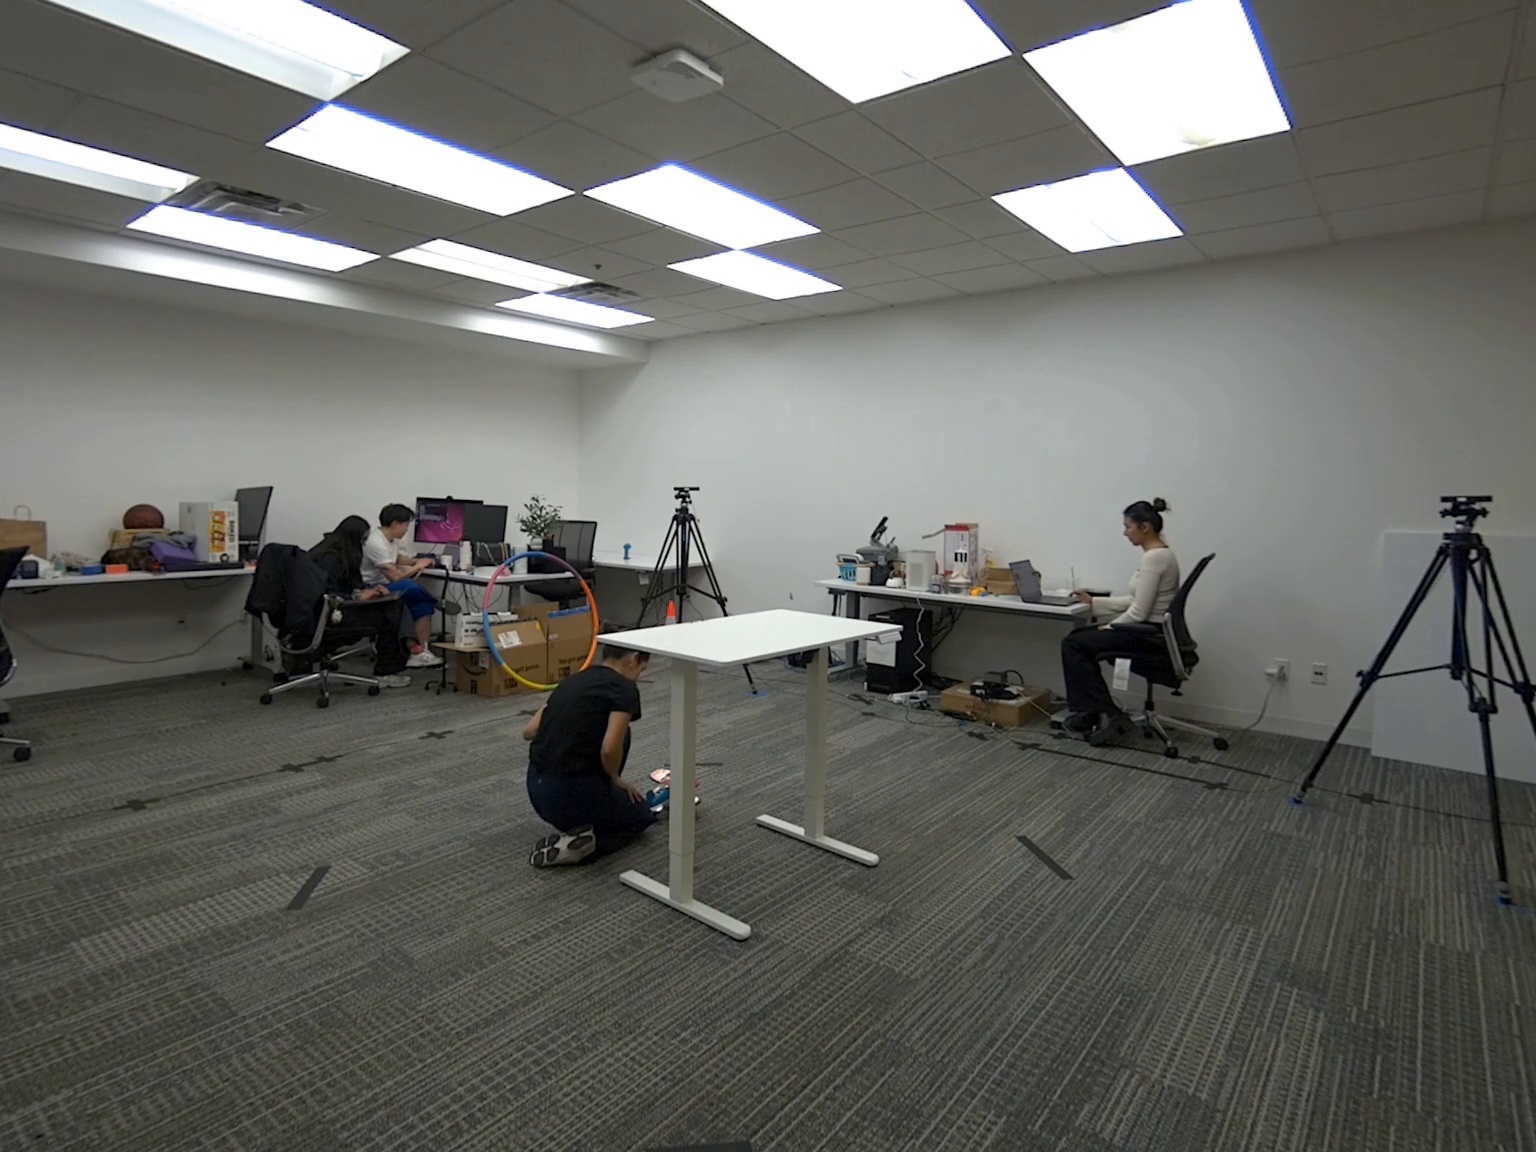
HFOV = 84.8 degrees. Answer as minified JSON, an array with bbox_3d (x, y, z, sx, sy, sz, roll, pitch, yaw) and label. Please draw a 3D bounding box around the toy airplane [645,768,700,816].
[{"bbox_3d":[-0.388,0.936,3.645,0.255,0.156,0.256,3,4,12],"label":"toy airplane"}]
